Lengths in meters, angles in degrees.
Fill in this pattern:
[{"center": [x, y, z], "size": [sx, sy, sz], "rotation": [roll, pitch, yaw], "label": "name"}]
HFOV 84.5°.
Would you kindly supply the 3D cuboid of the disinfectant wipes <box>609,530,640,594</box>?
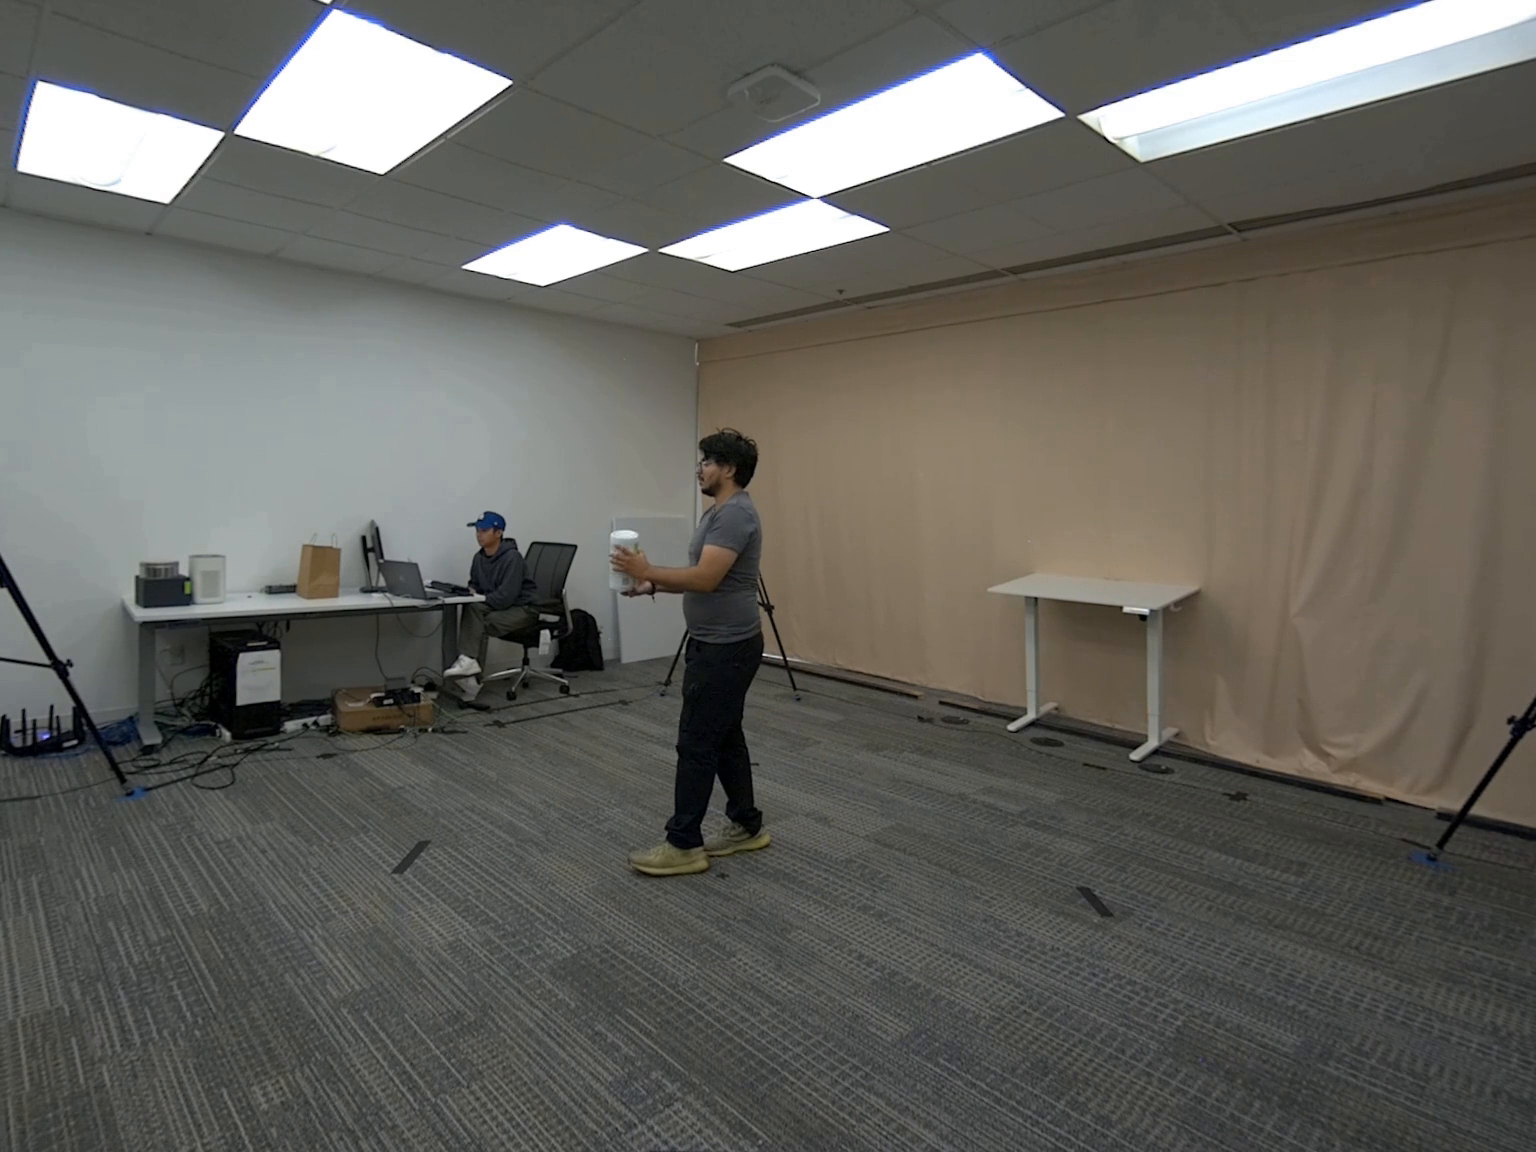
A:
[{"center": [-0.556, -0.060, 3.216], "size": [0.117, 0.215, 0.119], "rotation": [2, 17, -2], "label": "disinfectant wipes"}]
